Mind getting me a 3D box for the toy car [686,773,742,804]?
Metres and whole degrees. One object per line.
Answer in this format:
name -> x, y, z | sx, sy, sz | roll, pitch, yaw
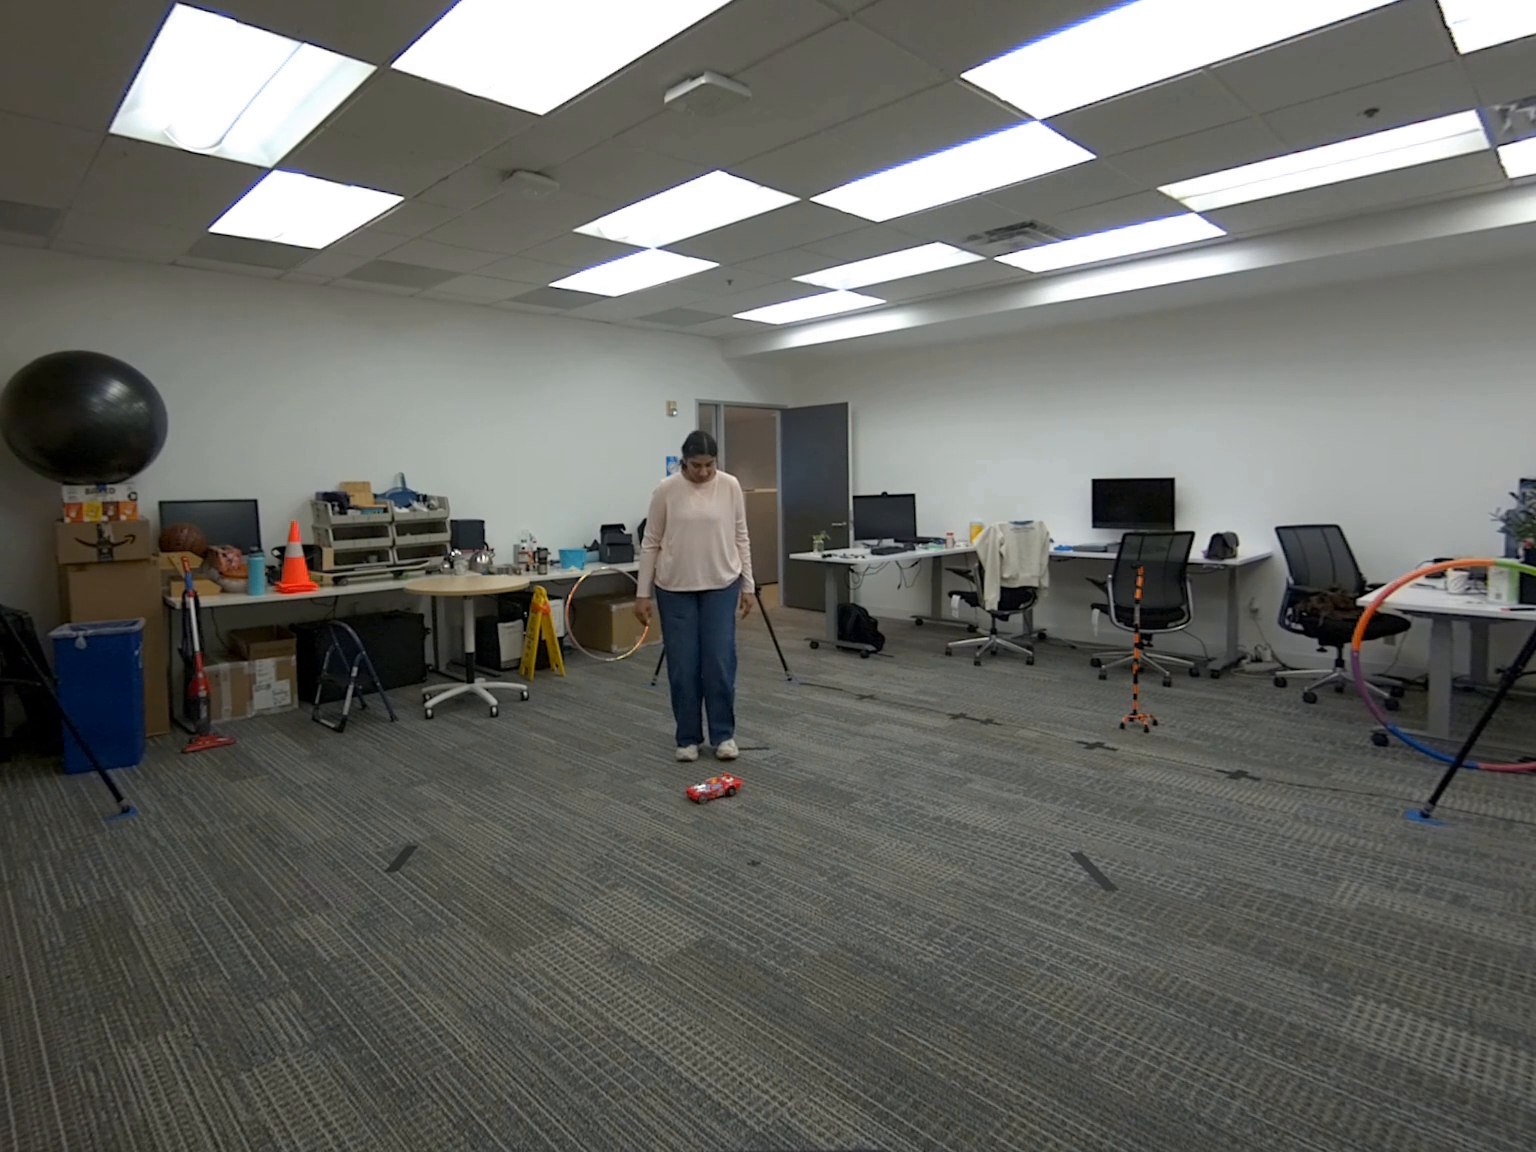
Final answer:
toy car -> -0.237, 0.945, 3.782 | 0.250, 0.082, 0.134 | -18, 13, -30
